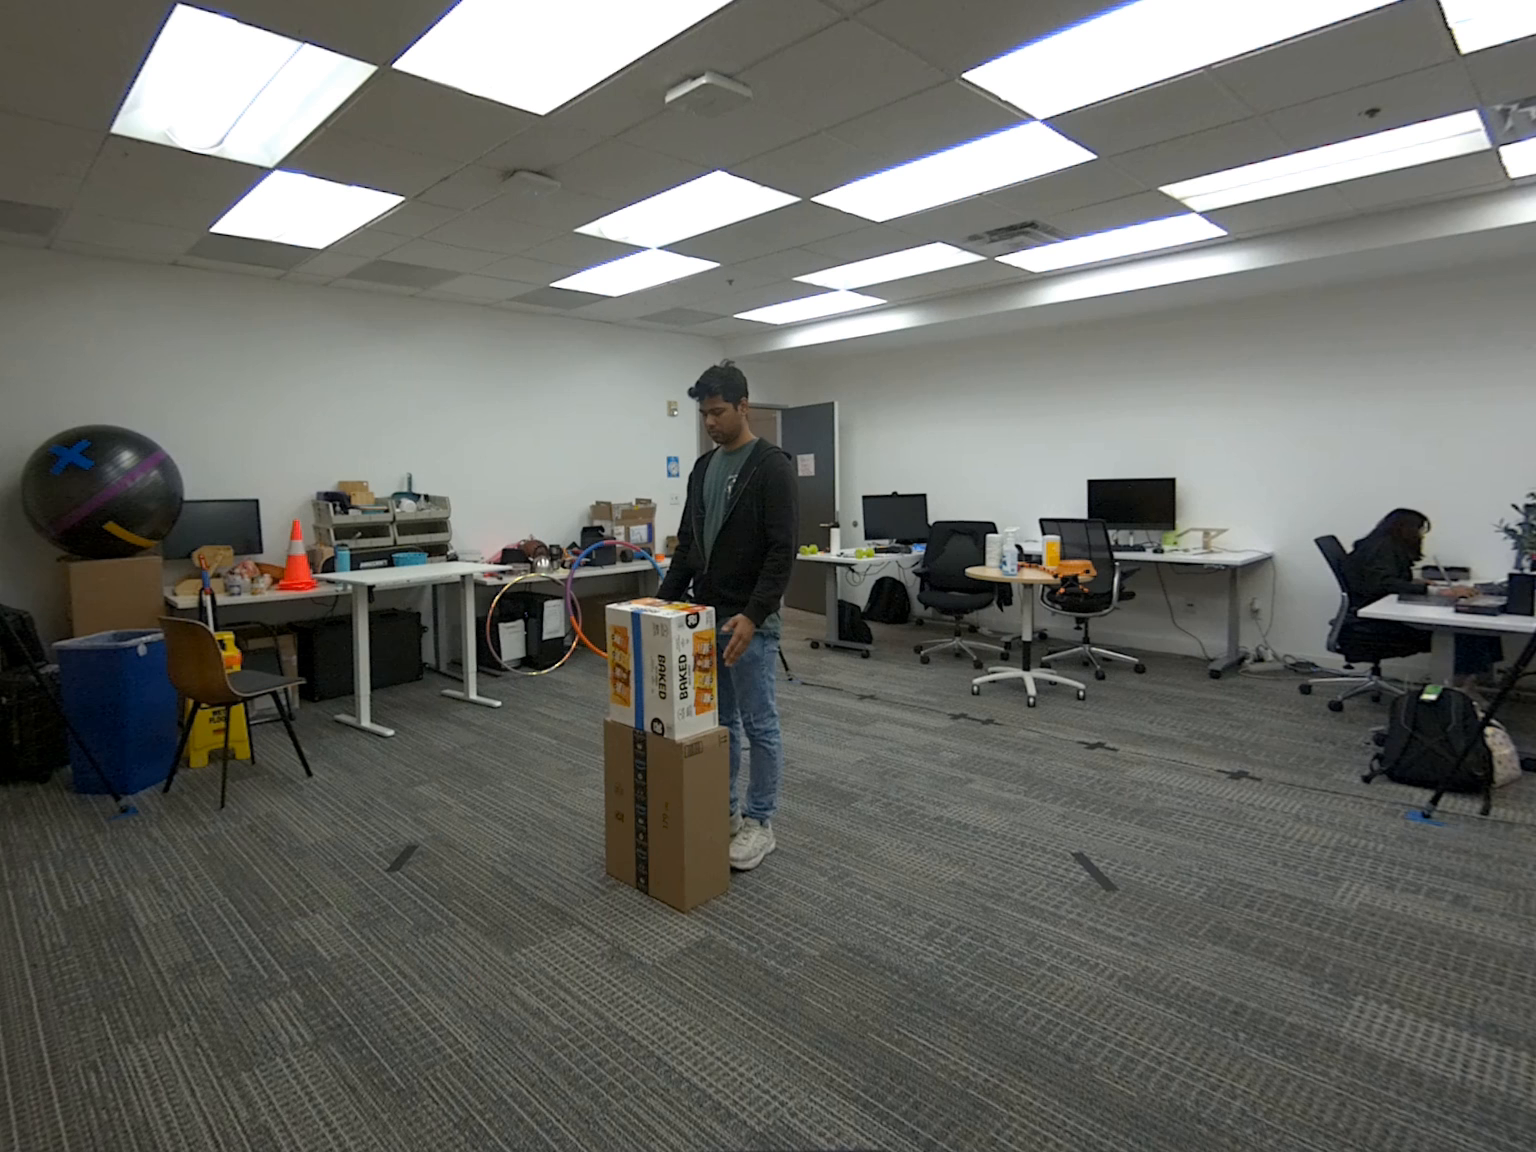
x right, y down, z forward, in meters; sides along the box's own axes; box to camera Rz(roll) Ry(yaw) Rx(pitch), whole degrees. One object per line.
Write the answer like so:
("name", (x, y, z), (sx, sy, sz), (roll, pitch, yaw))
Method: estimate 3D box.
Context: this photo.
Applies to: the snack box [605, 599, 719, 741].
("snack box", (-0.360, 0.304, 2.911), (0.351, 0.403, 0.200), (4, 8, 44))
